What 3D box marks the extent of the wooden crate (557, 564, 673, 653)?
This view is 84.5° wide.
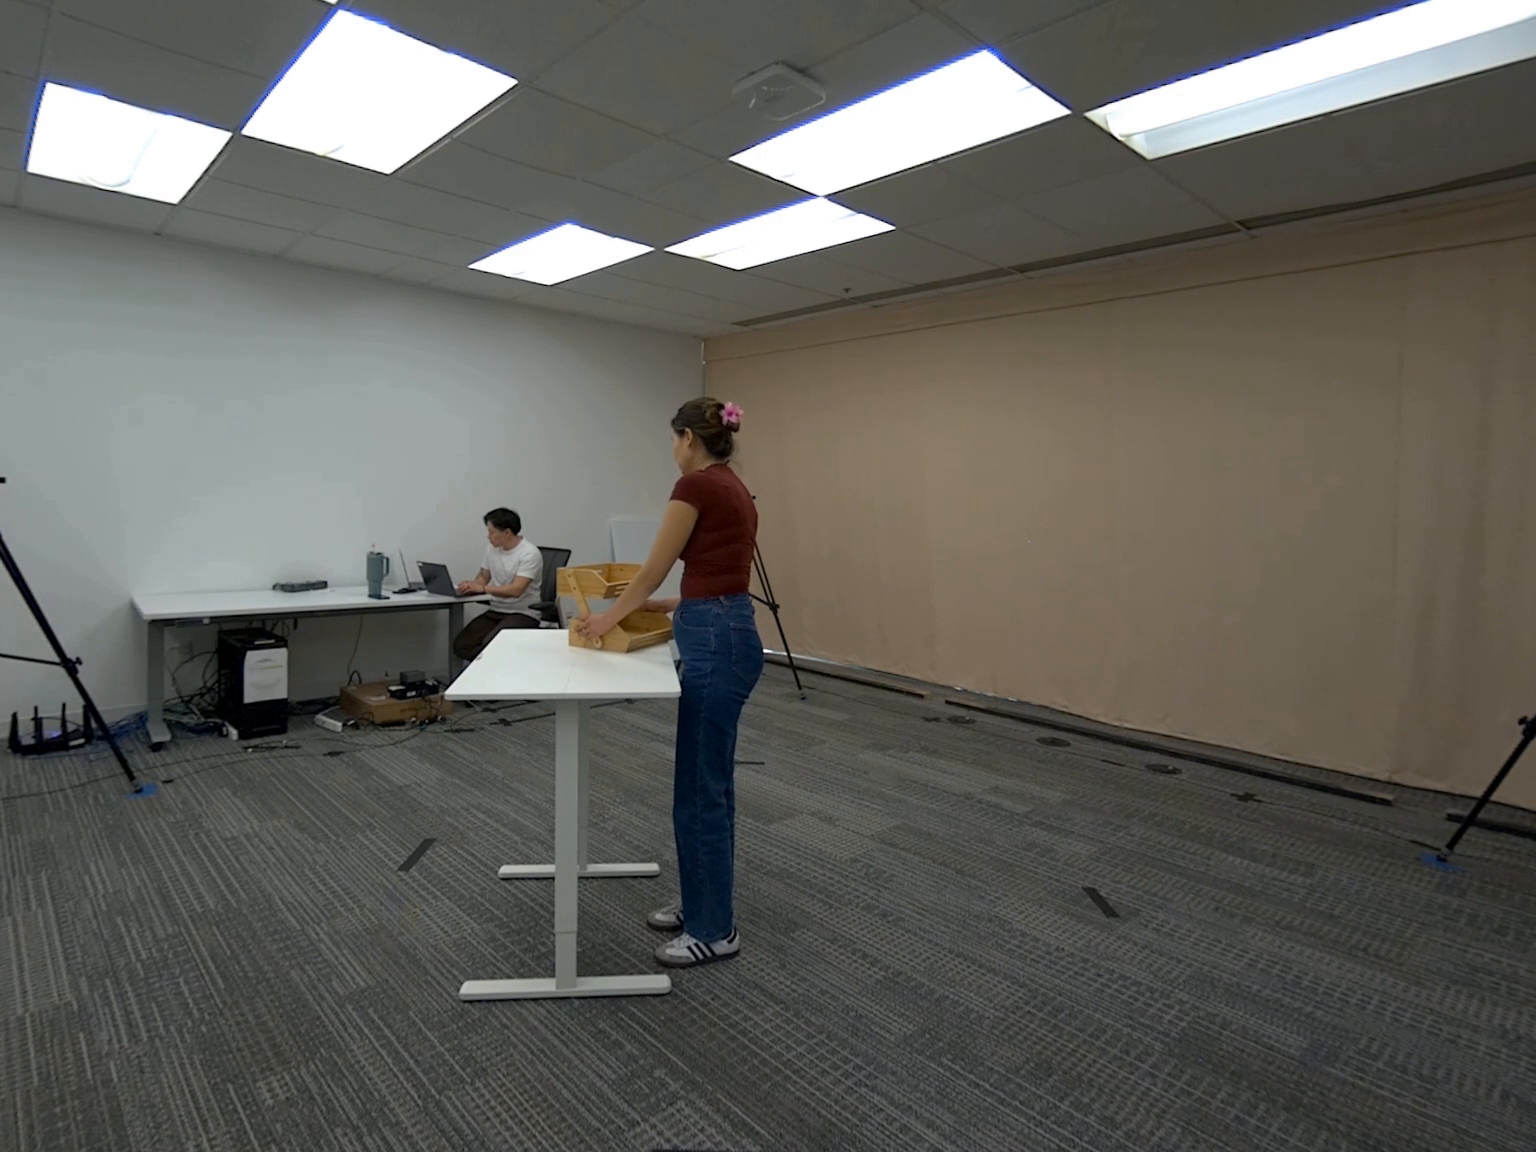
[{"bbox_3d":[-0.512,0.099,2.894,0.308,0.272,0.319,3,5,26],"label":"wooden crate"}]
